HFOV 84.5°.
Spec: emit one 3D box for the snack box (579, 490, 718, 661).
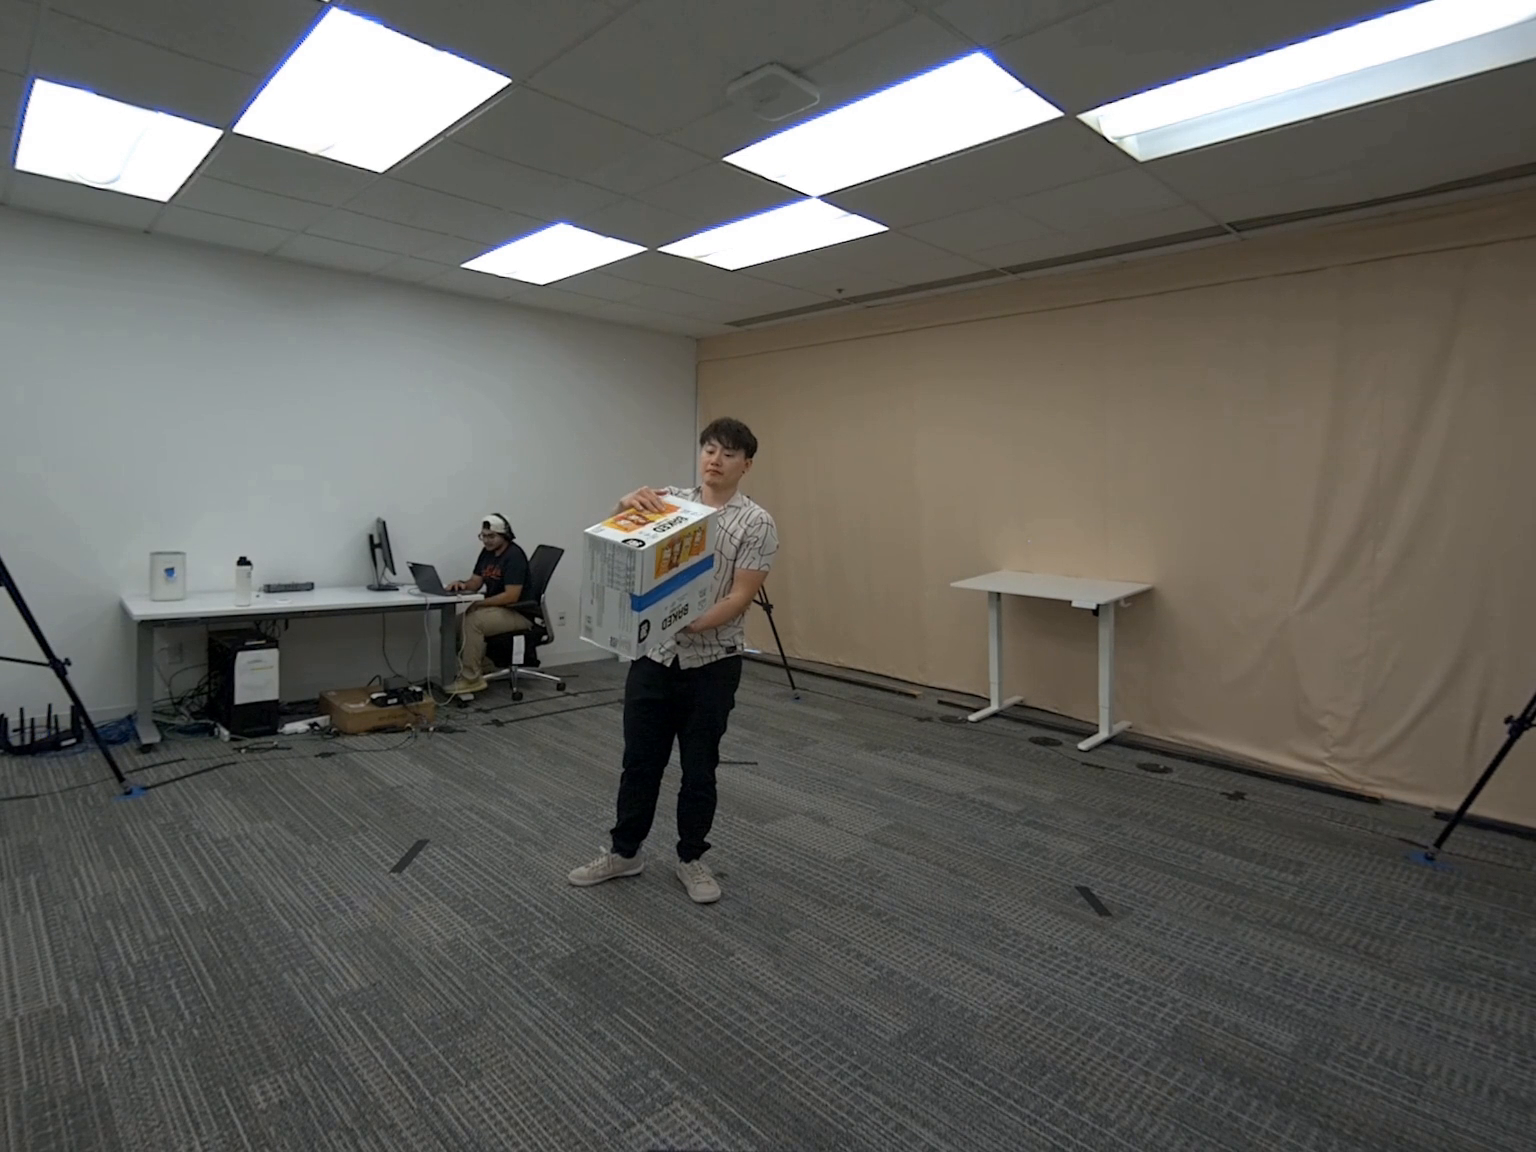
[{"bbox_3d":[-0.359,-0.006,2.478,0.210,0.335,0.402,16,26,24],"label":"snack box"}]
